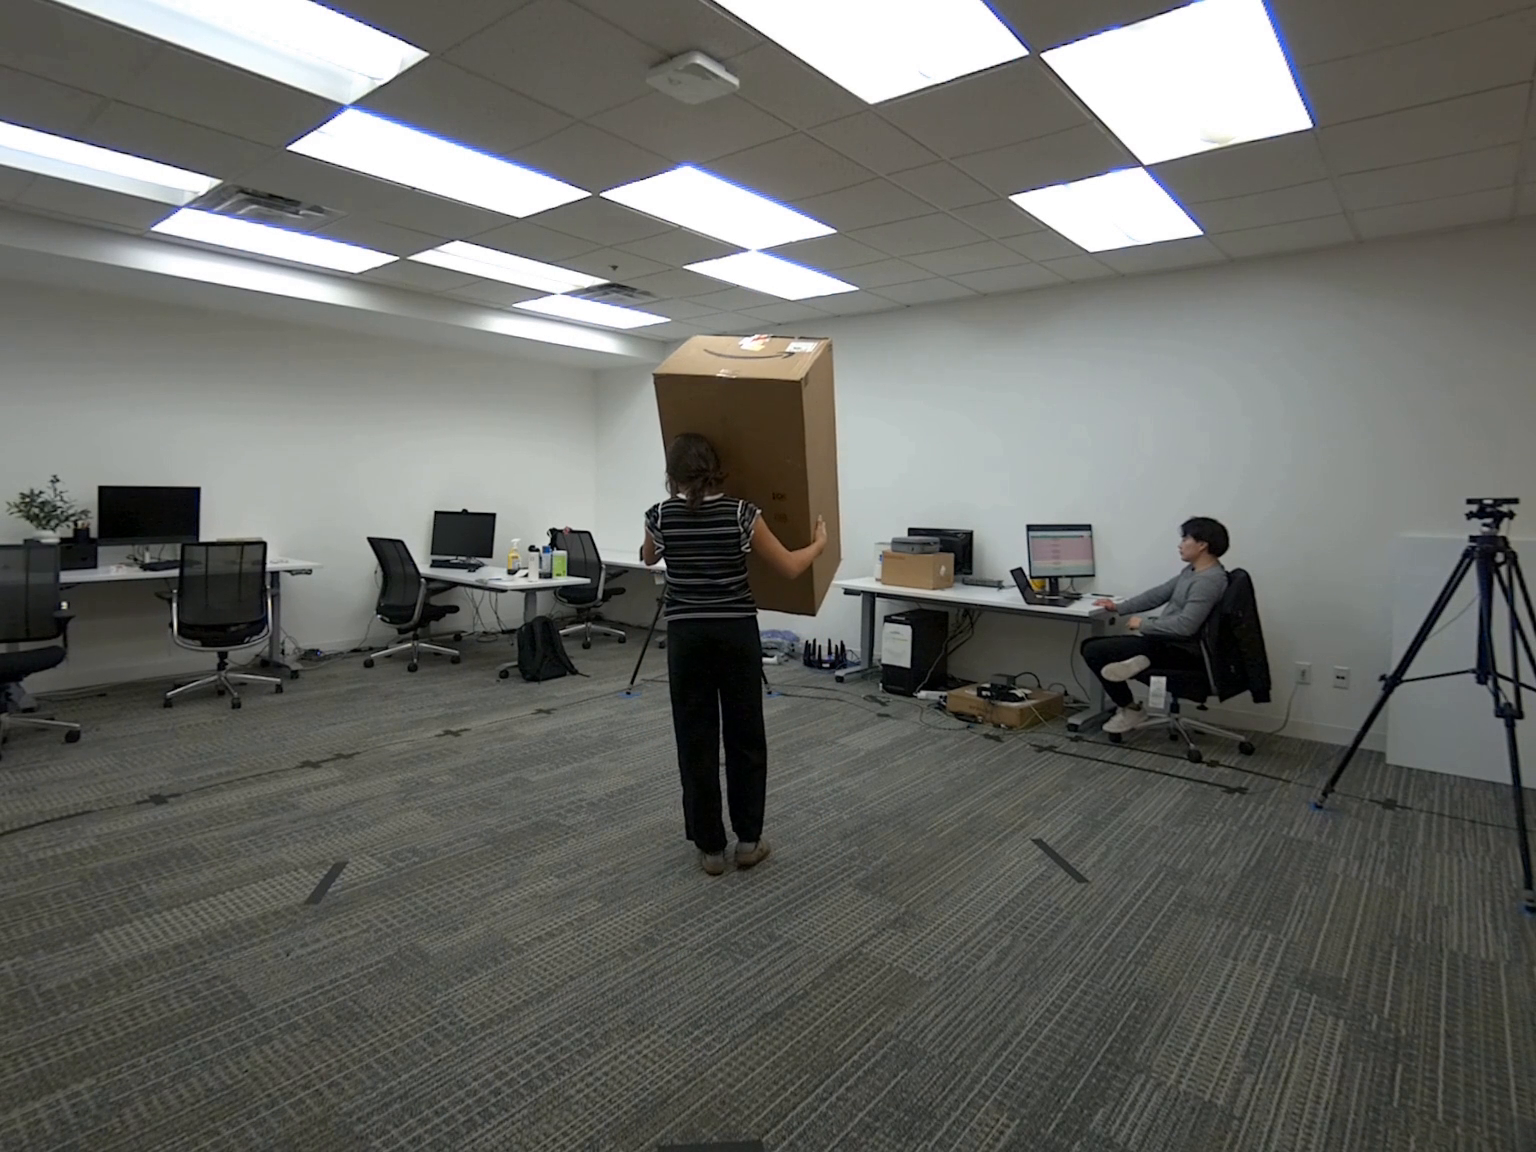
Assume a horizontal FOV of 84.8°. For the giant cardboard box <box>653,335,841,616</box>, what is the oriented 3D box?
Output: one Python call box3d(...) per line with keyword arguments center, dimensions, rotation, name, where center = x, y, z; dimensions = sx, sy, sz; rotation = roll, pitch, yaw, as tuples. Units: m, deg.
box3d(center=(-0.061, -0.404, 3.435), dimensions=(0.591, 0.997, 0.429), rotation=(7, 34, 19), name="giant cardboard box")
